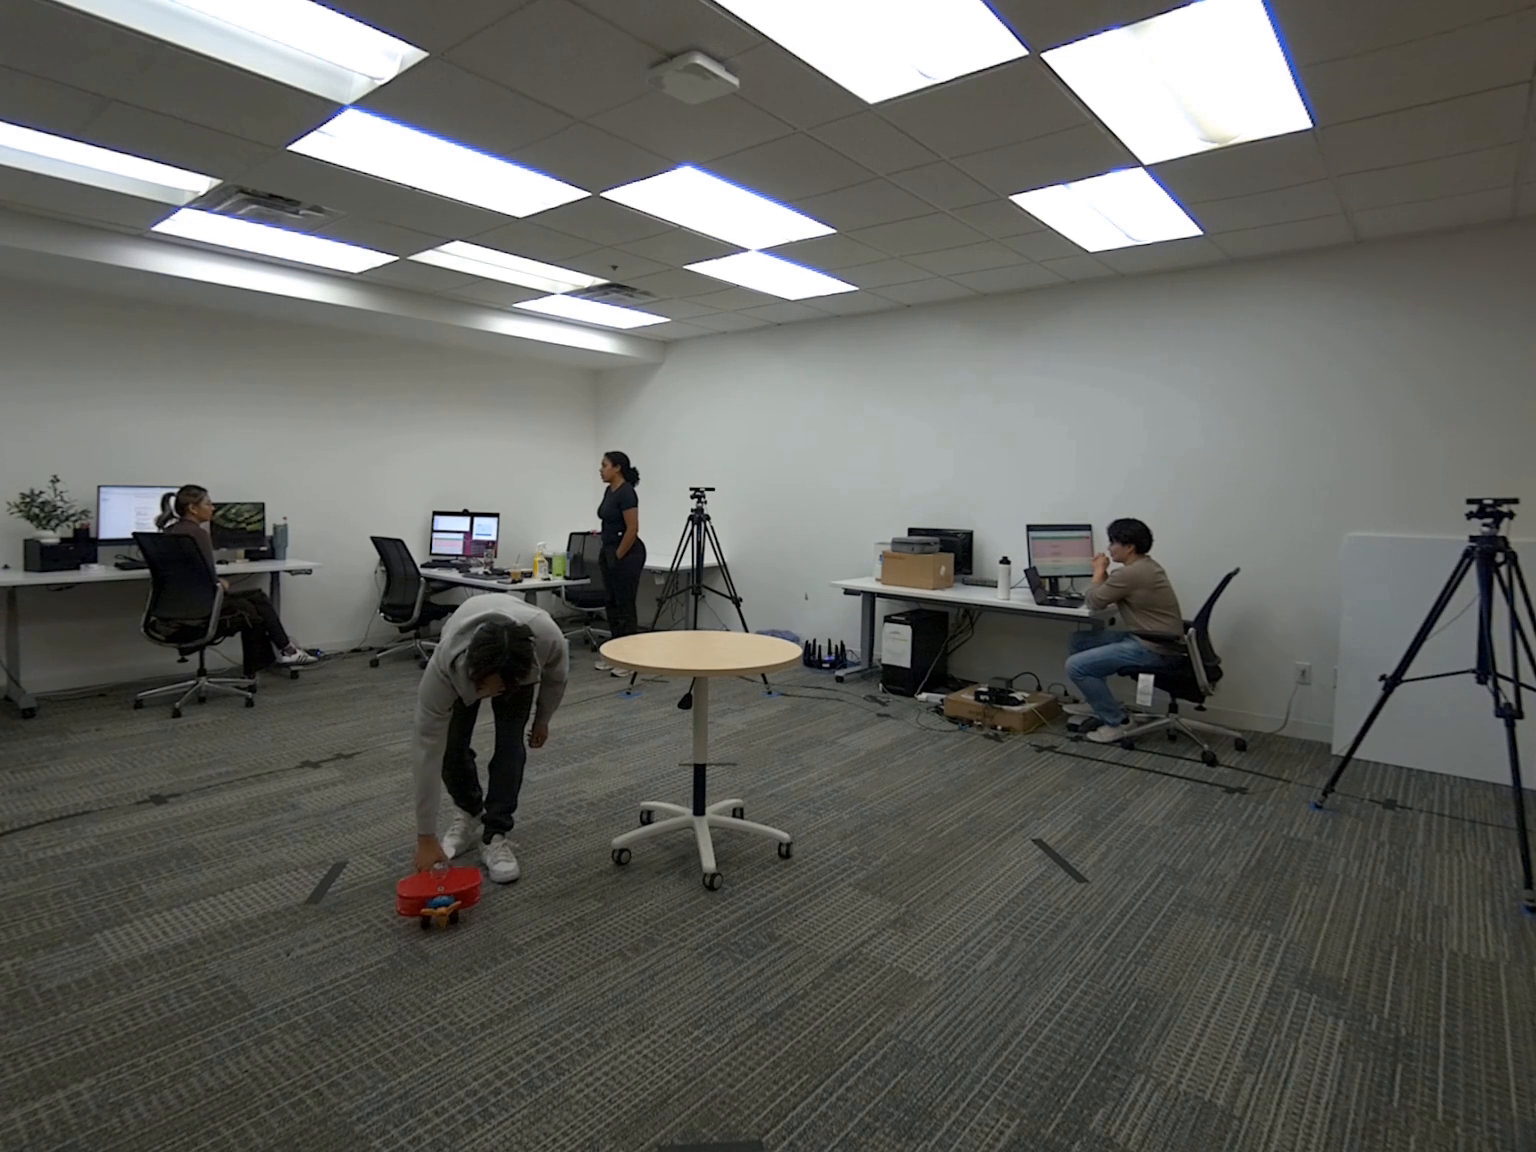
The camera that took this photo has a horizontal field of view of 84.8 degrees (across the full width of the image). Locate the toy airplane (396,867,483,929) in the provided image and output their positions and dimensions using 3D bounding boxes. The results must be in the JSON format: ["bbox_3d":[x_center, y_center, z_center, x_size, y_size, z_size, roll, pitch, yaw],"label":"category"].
[{"bbox_3d":[-1.077,0.983,2.702,0.267,0.154,0.247,40,44,22],"label":"toy airplane"}]
